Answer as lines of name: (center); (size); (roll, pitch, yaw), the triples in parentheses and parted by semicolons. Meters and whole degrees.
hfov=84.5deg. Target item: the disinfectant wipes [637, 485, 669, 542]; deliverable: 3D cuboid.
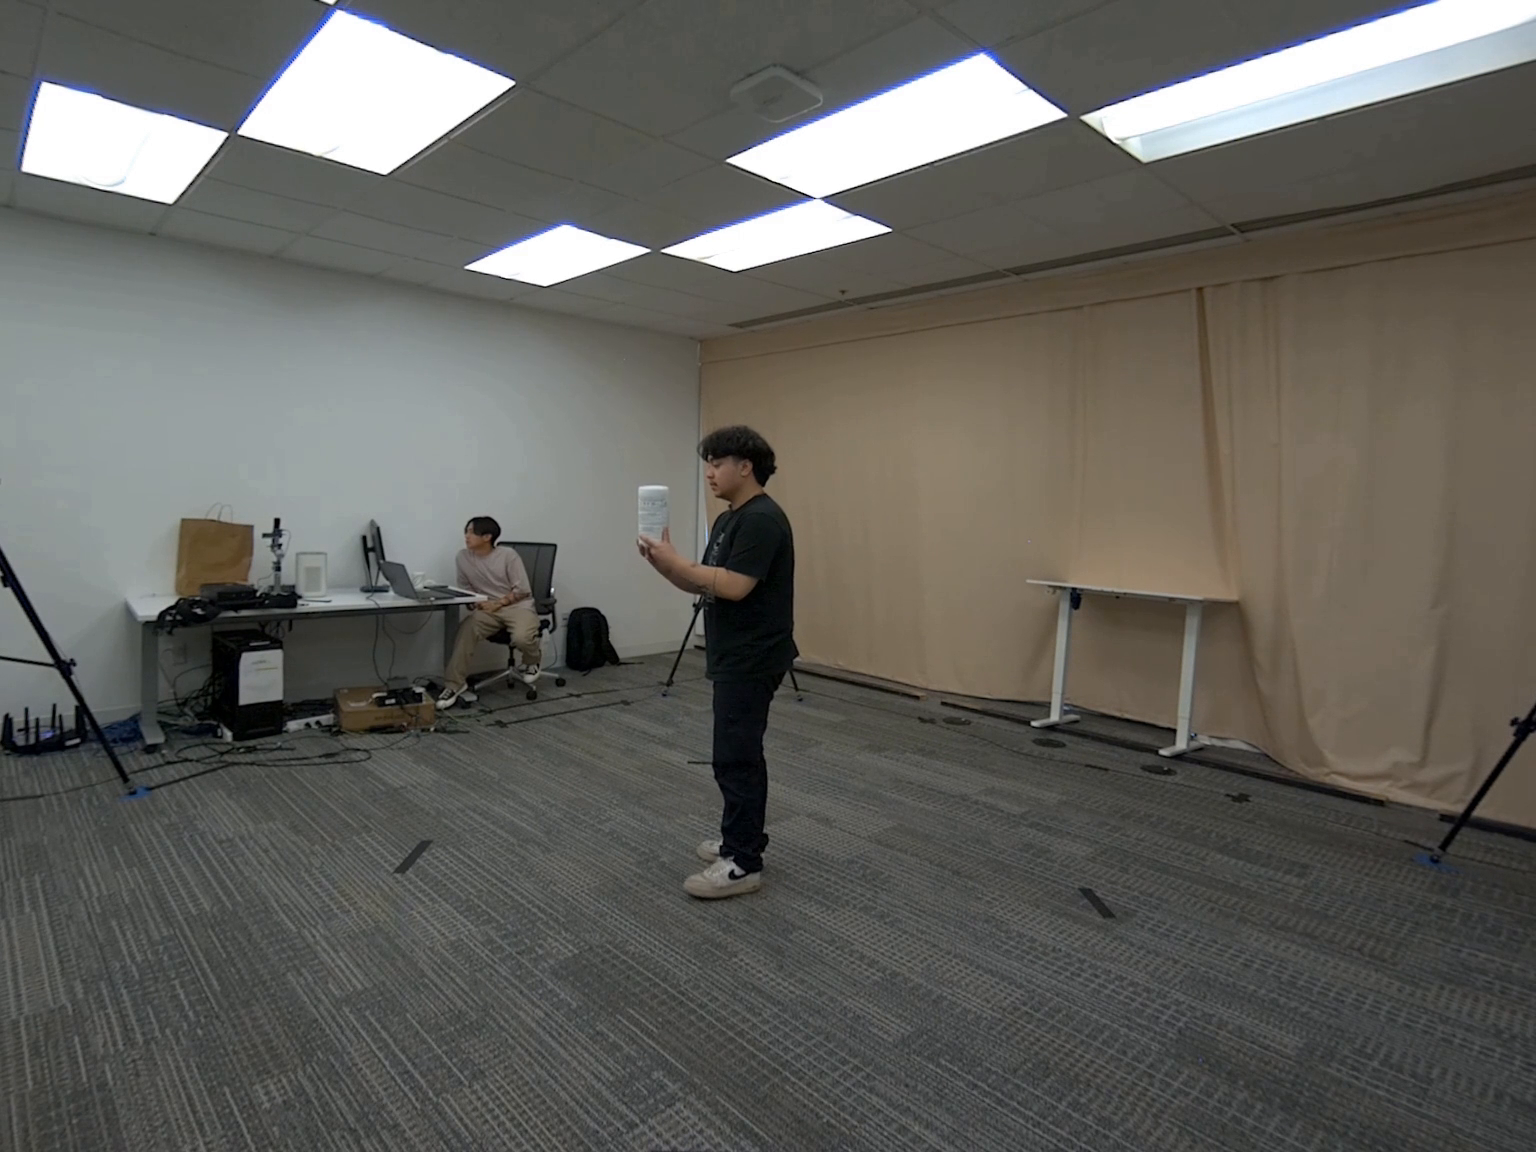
disinfectant wipes: (-0.415, -0.215, 3.032); (0.118, 0.216, 0.118); (0, 7, -1)
